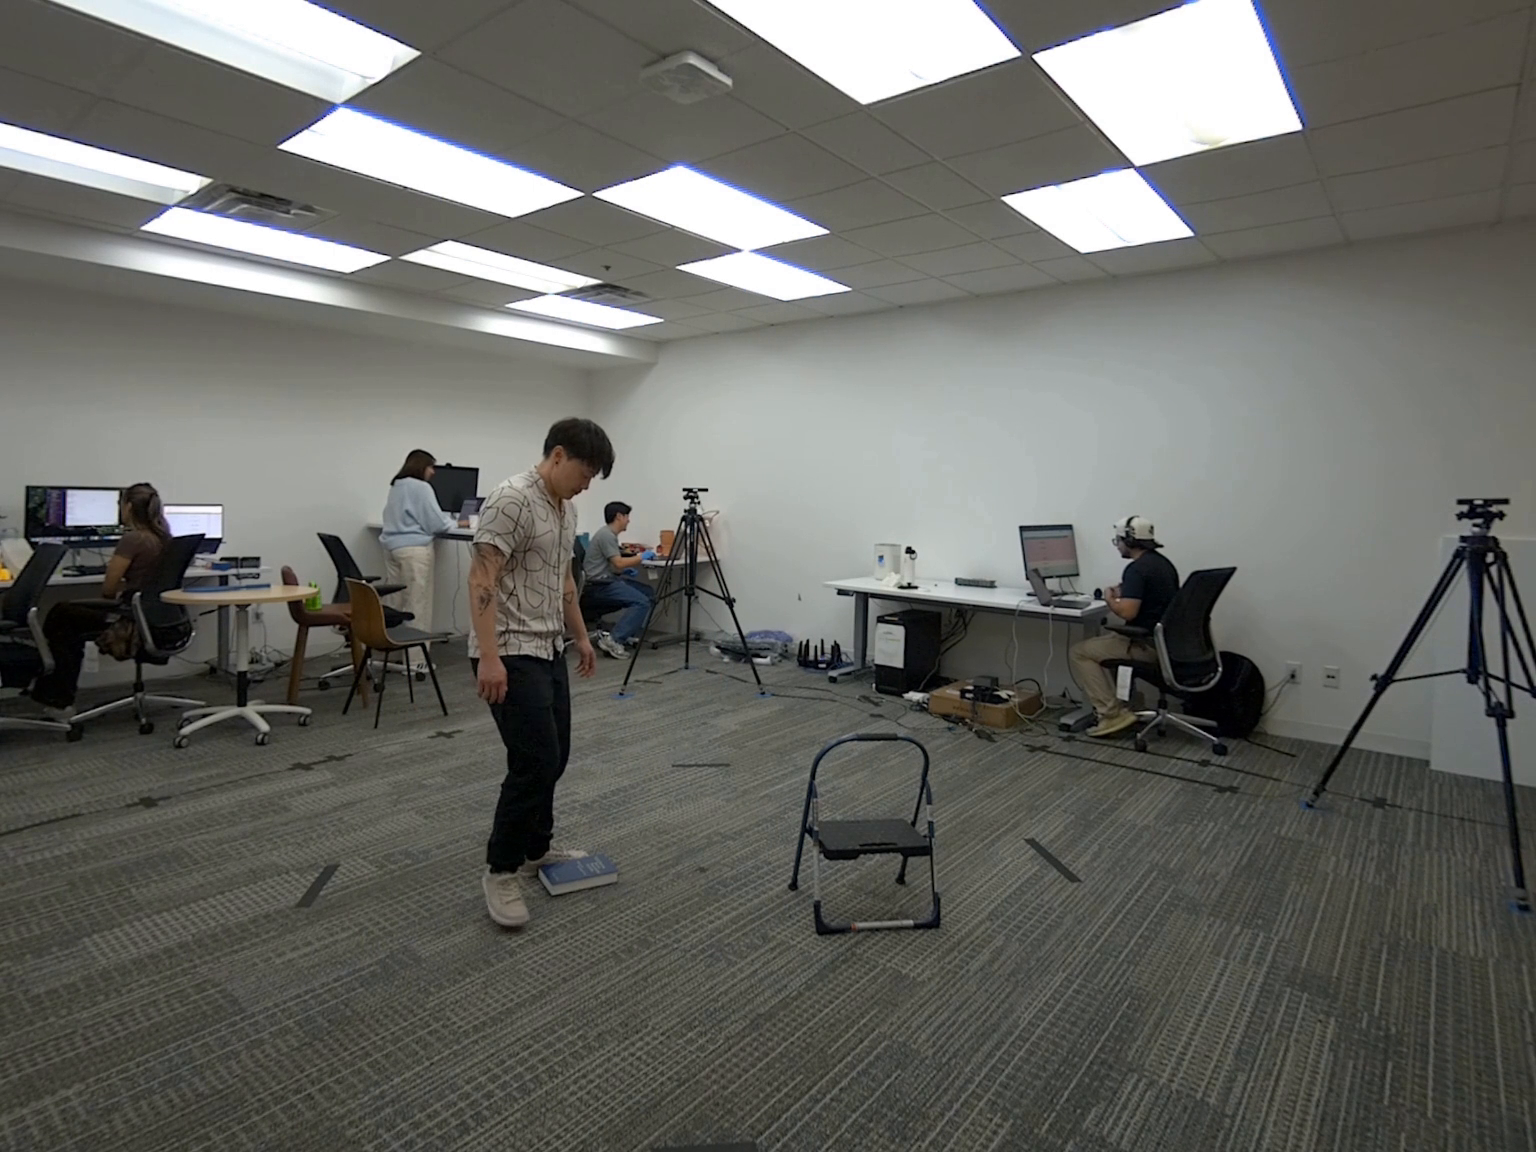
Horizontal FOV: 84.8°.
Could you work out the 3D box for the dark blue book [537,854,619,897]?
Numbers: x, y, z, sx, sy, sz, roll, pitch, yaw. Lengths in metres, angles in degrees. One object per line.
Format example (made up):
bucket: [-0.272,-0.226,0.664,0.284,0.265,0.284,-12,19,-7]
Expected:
dark blue book: [-0.677,1.051,2.997,0.238,0.045,0.168,-2,6,-30]
